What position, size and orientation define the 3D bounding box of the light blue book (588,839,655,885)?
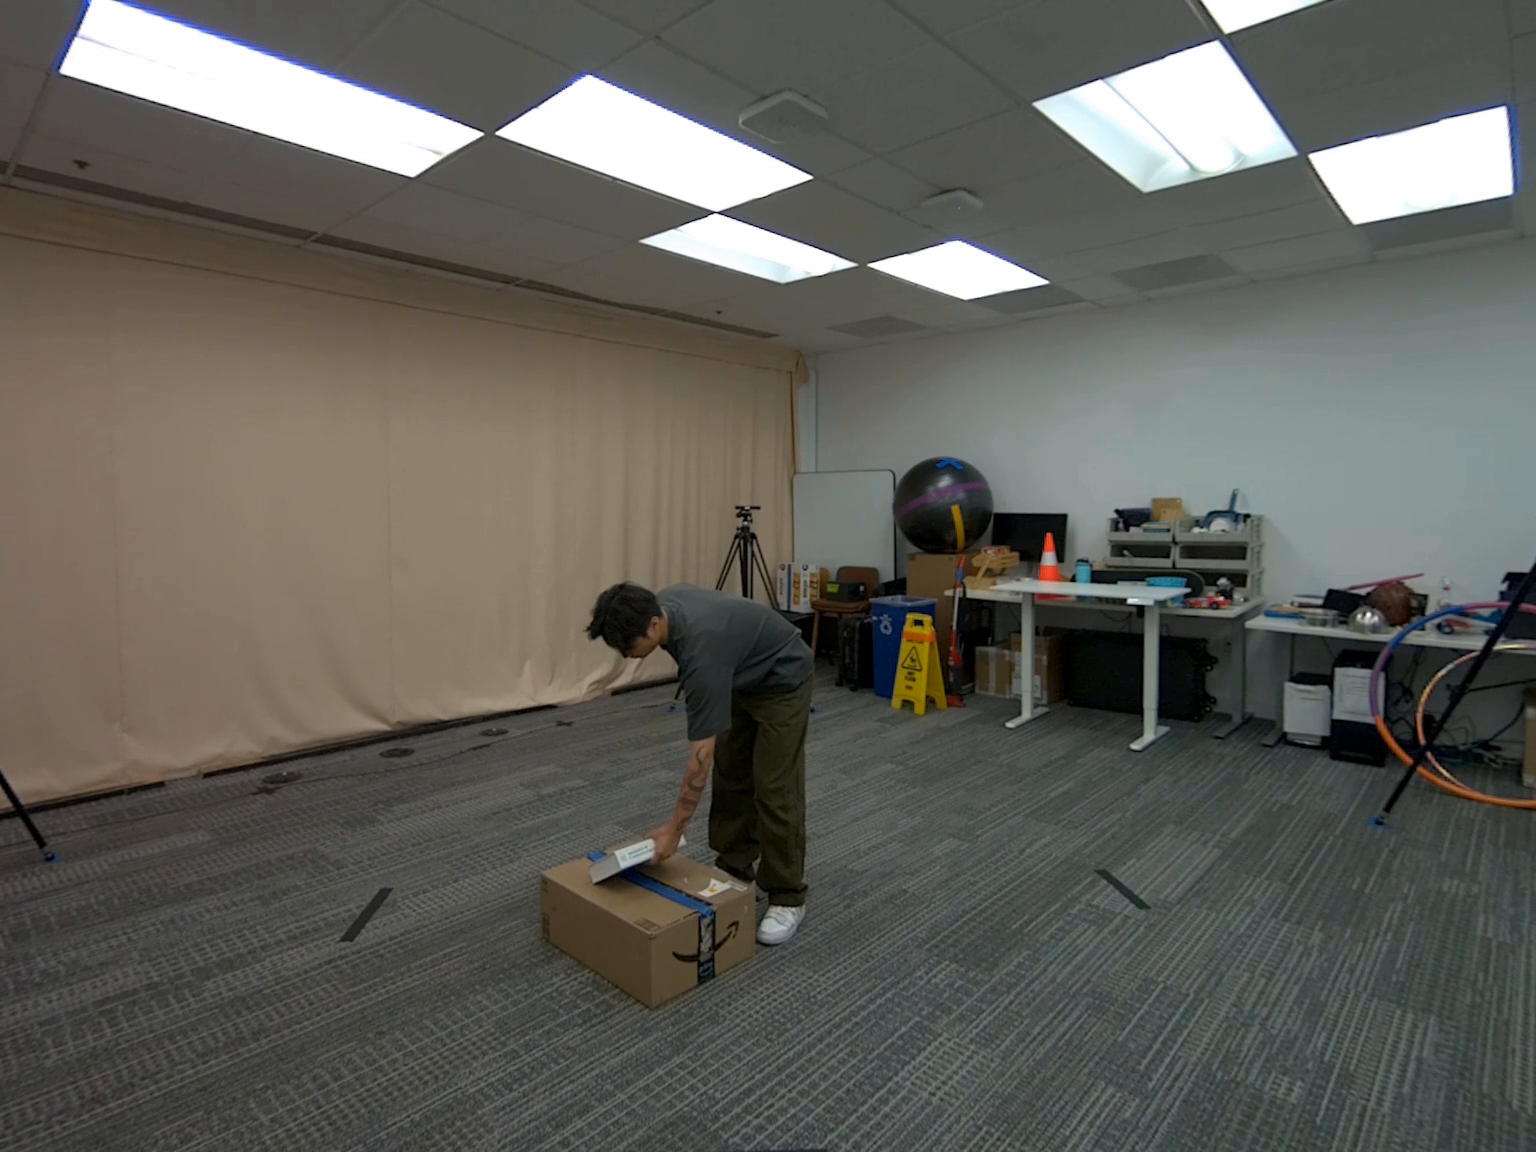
[{"bbox_3d":[-0.418,0.896,2.683,0.253,0.060,0.194,-4,-24,-46],"label":"light blue book"}]
